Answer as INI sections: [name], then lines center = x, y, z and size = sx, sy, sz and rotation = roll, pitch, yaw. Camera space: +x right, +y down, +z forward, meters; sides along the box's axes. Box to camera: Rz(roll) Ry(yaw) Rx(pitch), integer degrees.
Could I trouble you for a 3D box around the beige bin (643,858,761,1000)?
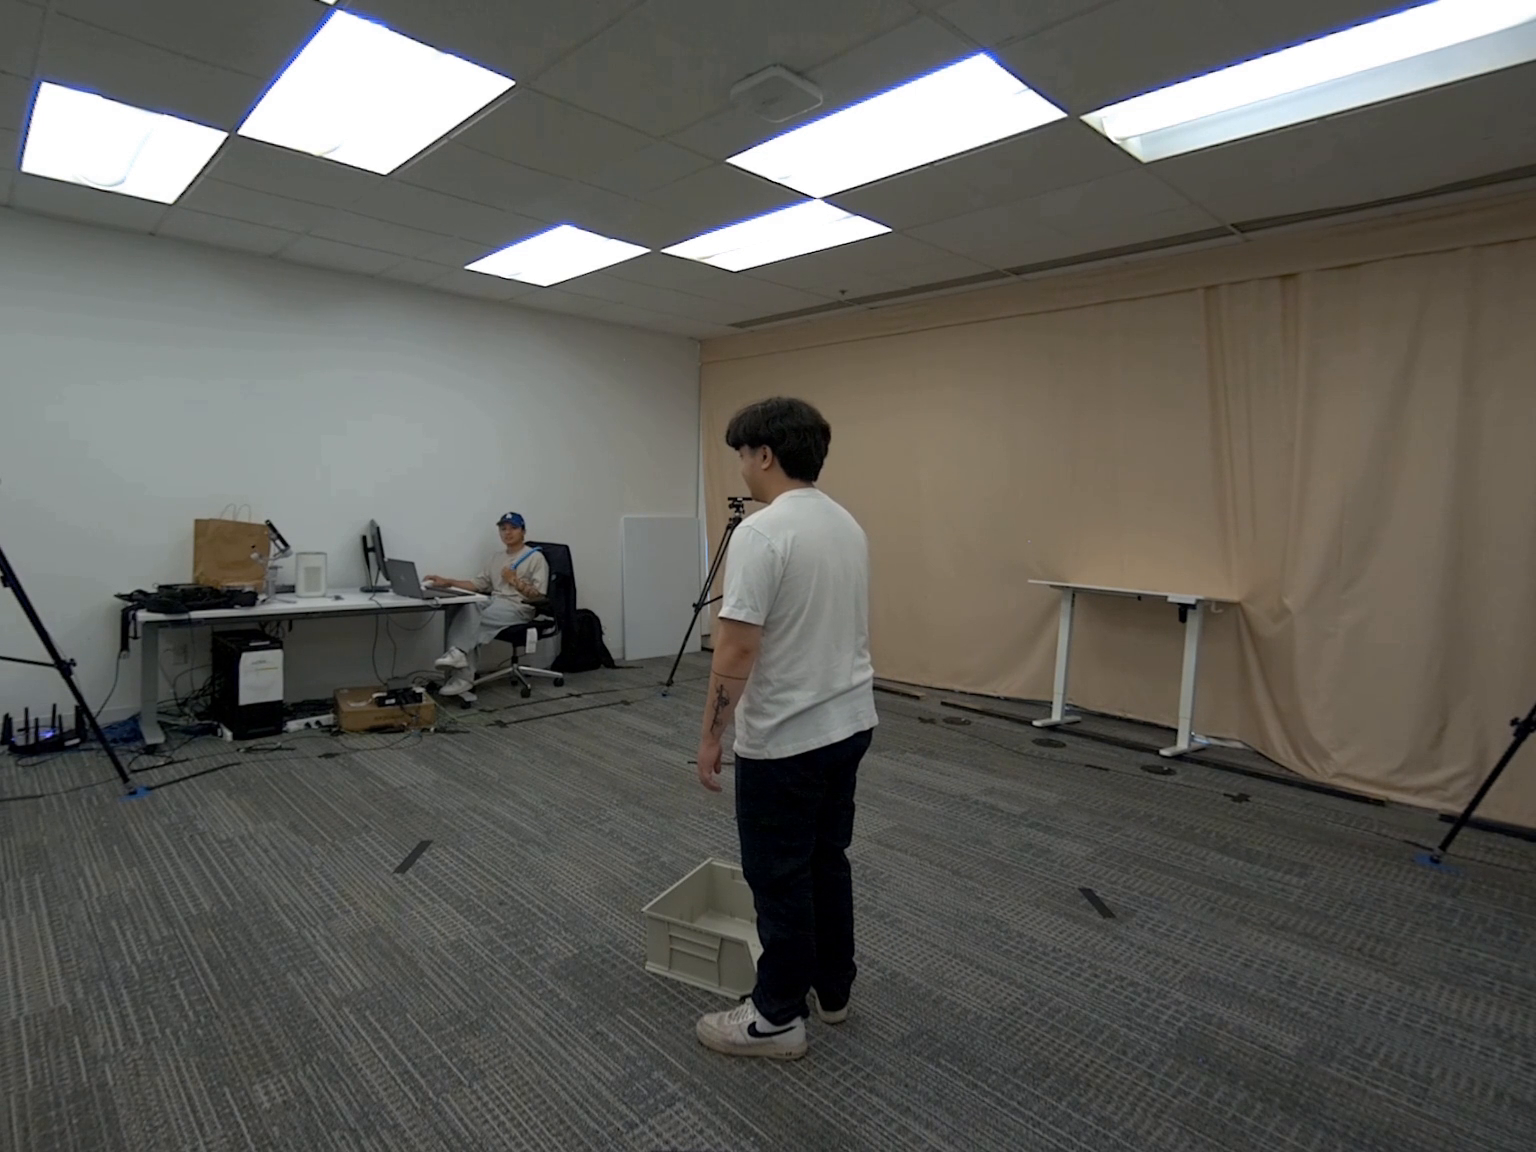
[beige bin]
center = -0.122, 1.067, 2.568
size = 0.385, 0.188, 0.415
rotation = 2, 6, 26
